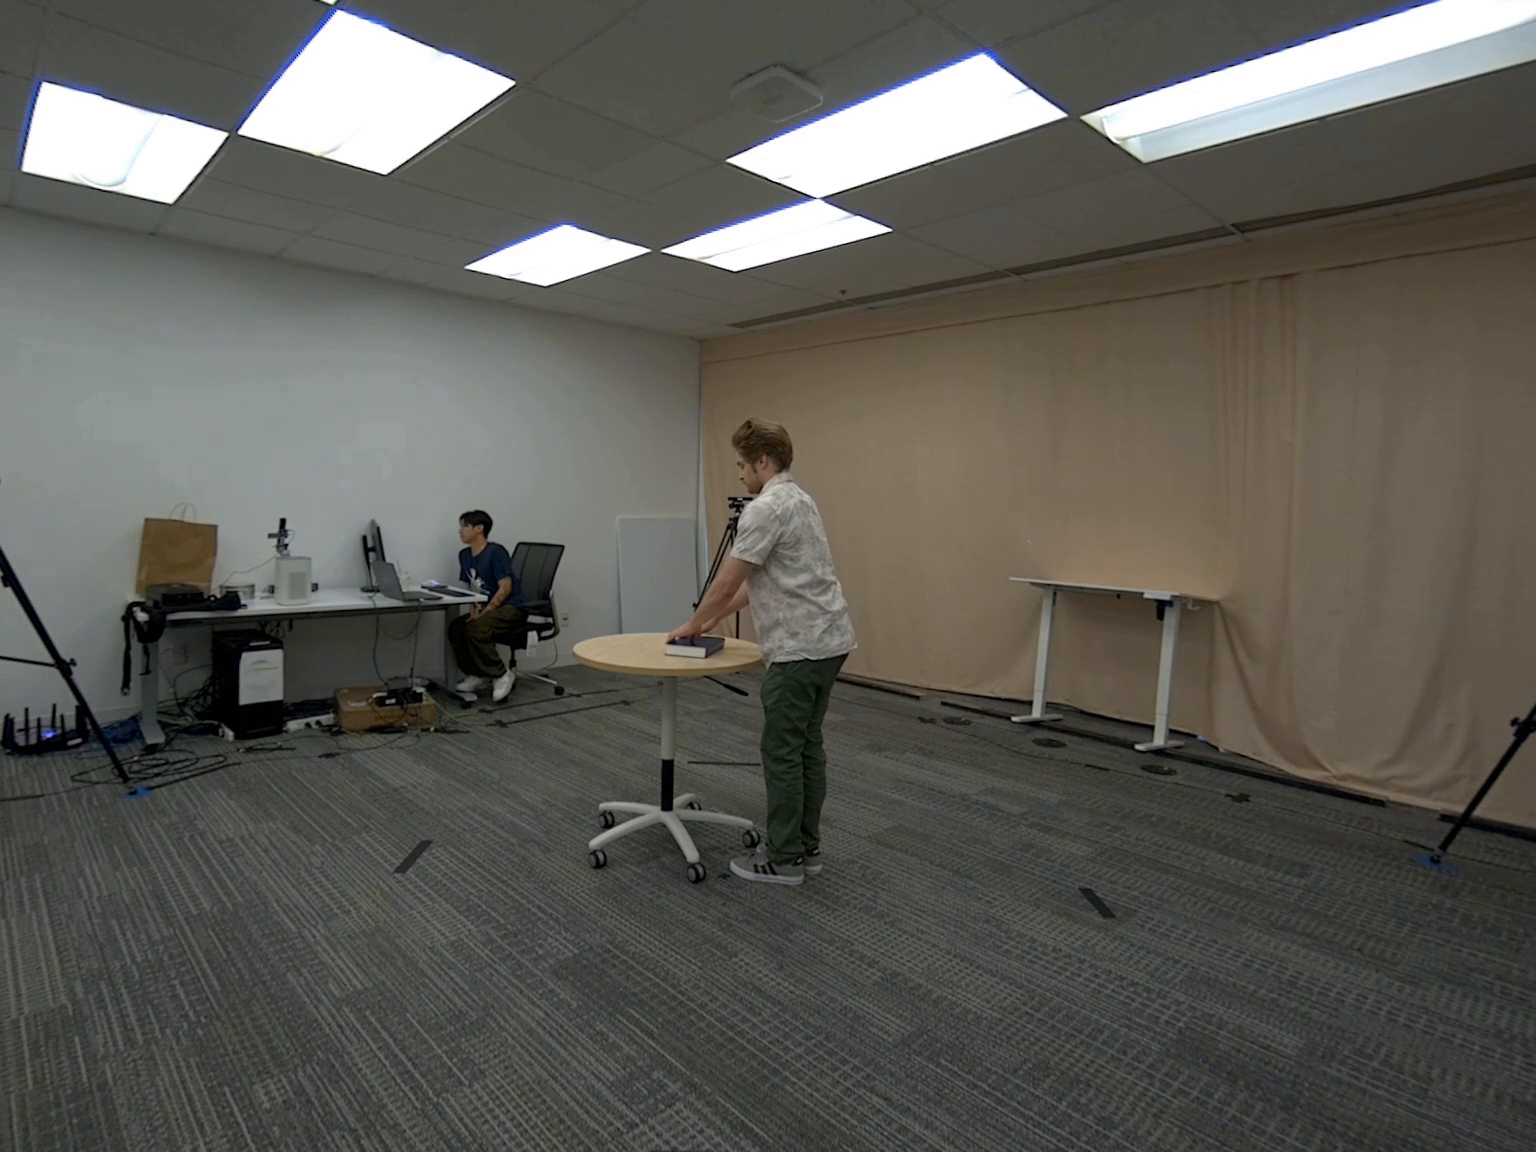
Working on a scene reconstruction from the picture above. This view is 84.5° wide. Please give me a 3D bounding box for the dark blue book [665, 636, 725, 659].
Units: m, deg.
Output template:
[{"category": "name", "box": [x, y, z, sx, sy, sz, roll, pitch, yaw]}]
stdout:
[{"category": "dark blue book", "box": [-0.290, 0.276, 3.305, 0.165, 0.045, 0.243, 3, 7, 14]}]
